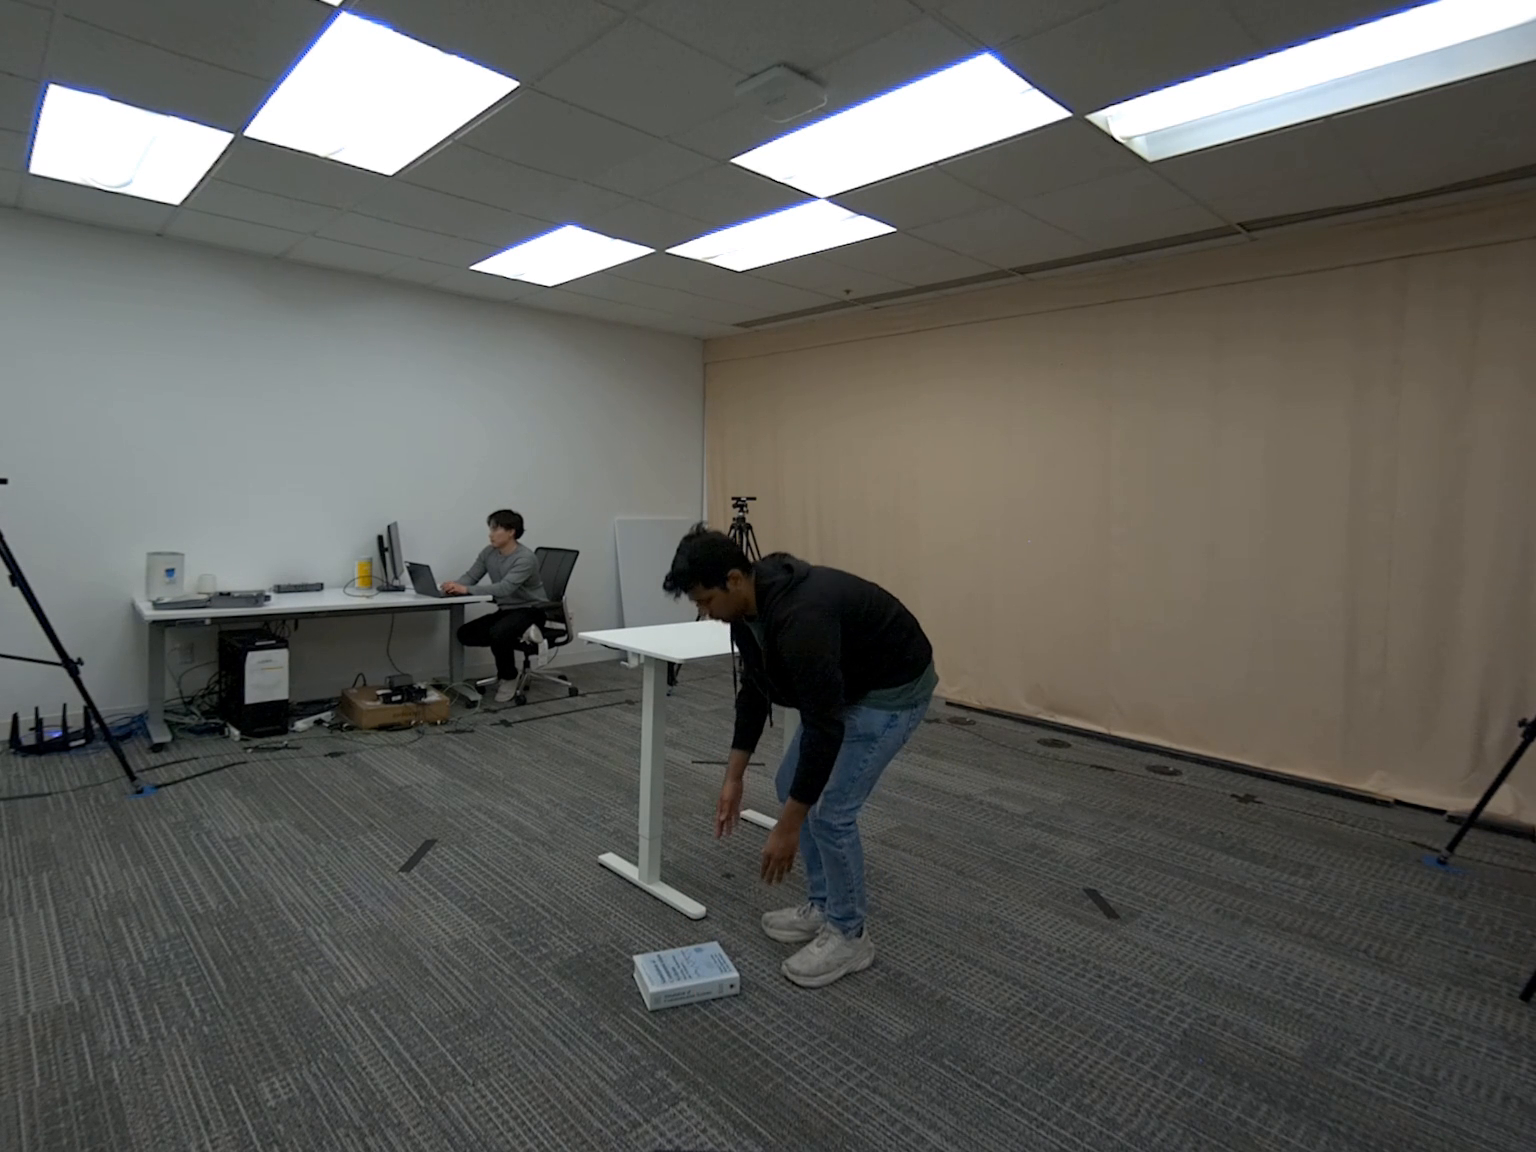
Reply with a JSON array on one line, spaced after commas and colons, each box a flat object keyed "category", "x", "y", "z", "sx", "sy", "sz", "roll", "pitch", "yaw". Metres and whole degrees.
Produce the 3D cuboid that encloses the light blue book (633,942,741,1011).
[{"category": "light blue book", "x": -0.236, "y": 1.135, "z": 2.403, "sx": 0.257, "sy": 0.059, "sz": 0.195, "roll": 0, "pitch": 5, "yaw": -21}]
